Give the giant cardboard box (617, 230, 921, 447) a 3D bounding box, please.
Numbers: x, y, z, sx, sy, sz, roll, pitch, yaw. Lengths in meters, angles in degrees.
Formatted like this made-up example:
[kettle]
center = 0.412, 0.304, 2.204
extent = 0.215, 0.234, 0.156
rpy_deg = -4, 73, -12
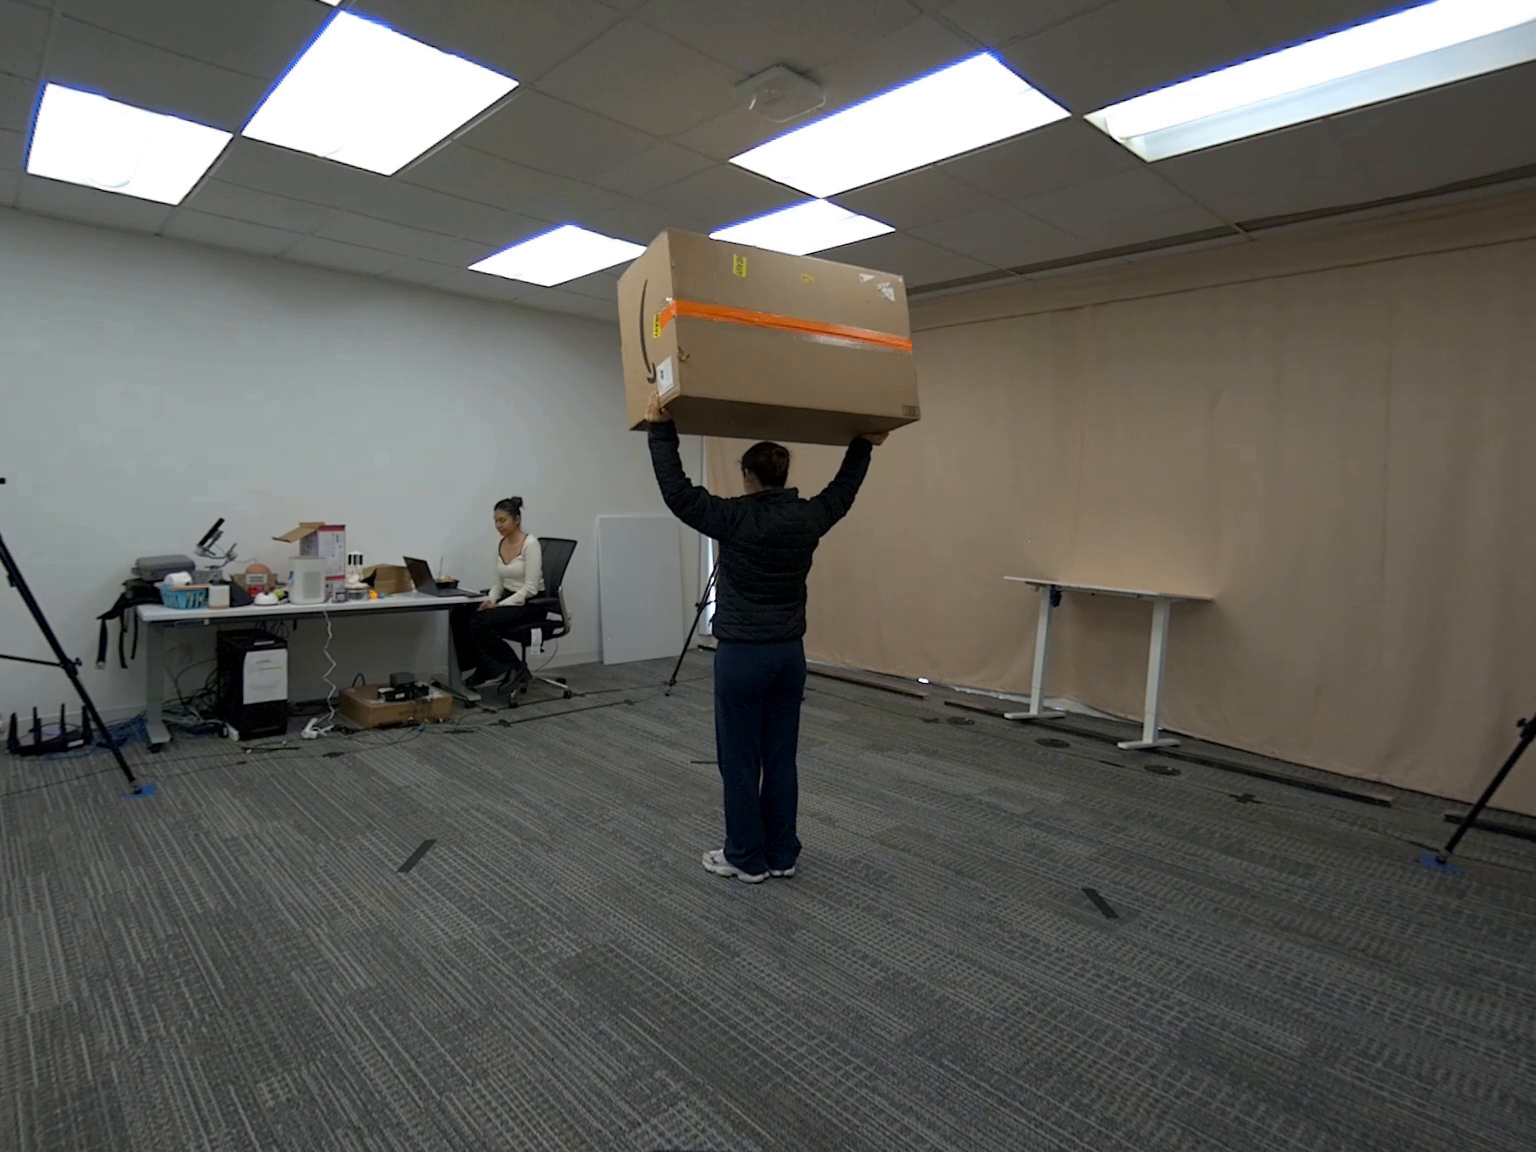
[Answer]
[giant cardboard box]
center = 0.007, -0.832, 3.123
extent = 1.005, 0.587, 0.454
rpy_deg = -1, -7, -32
